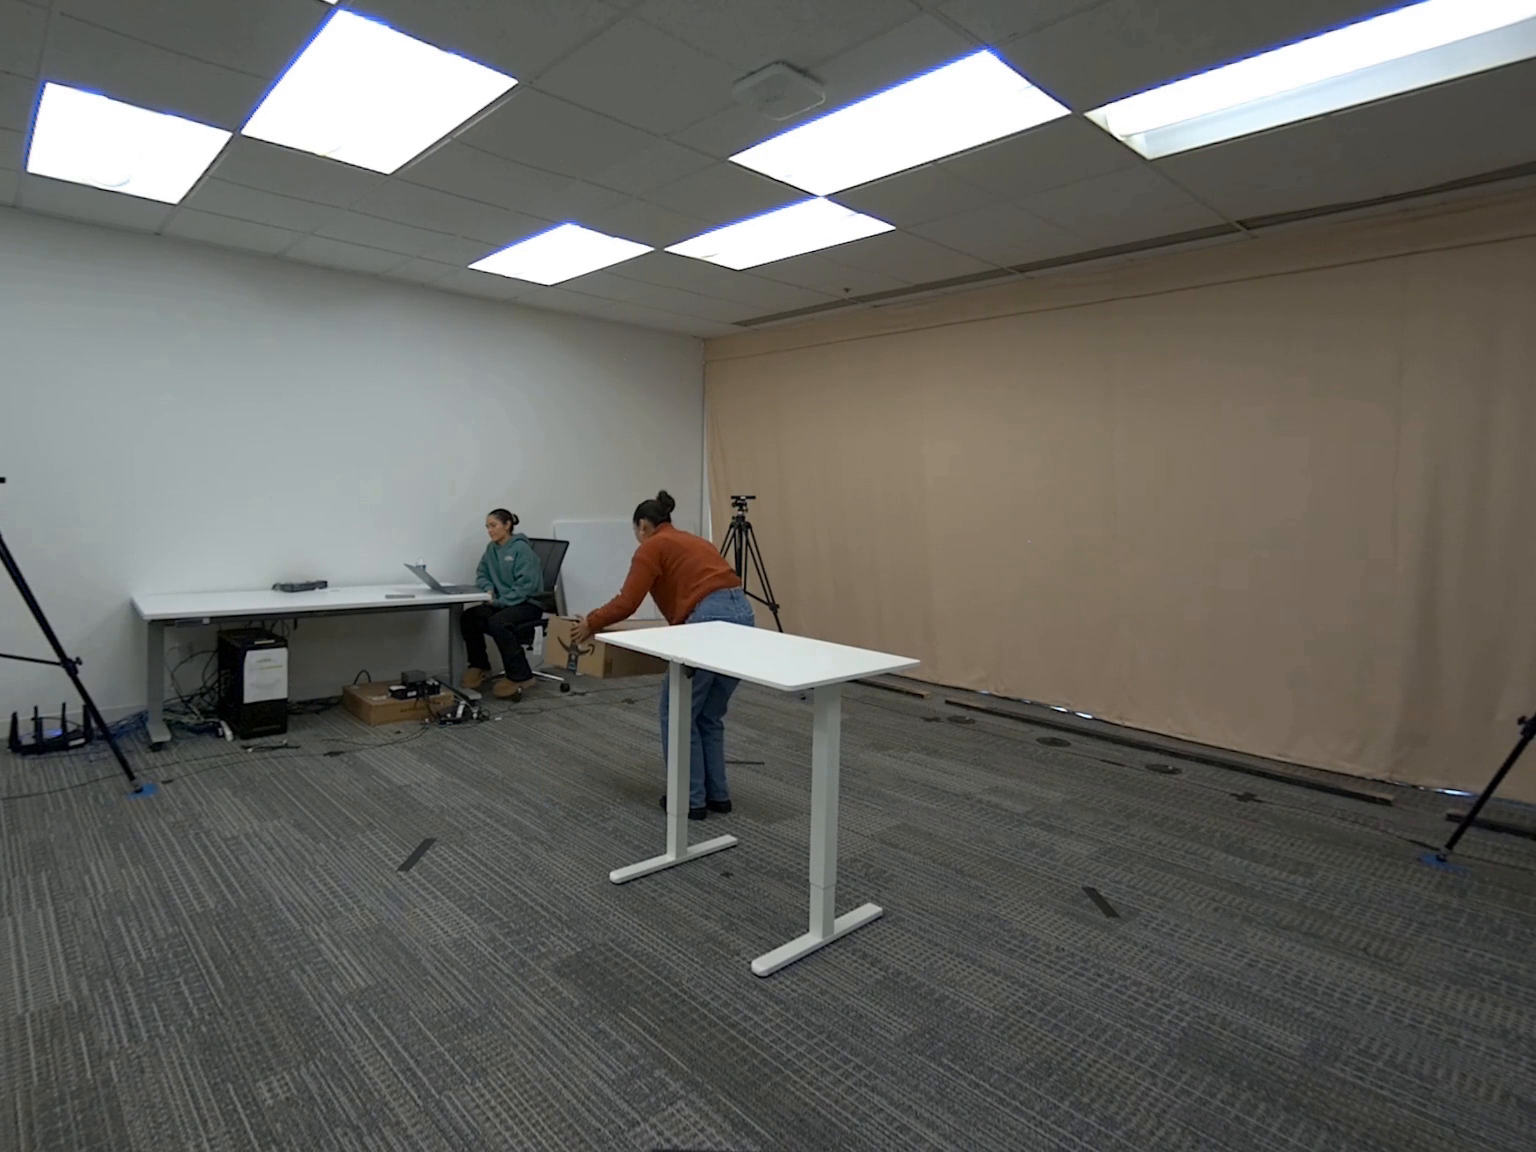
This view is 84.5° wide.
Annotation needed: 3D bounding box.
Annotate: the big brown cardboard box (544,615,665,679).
[{"bbox_3d":[-0.698,0.324,3.998,0.428,0.233,0.575,8,4,38],"label":"big brown cardboard box"}]
